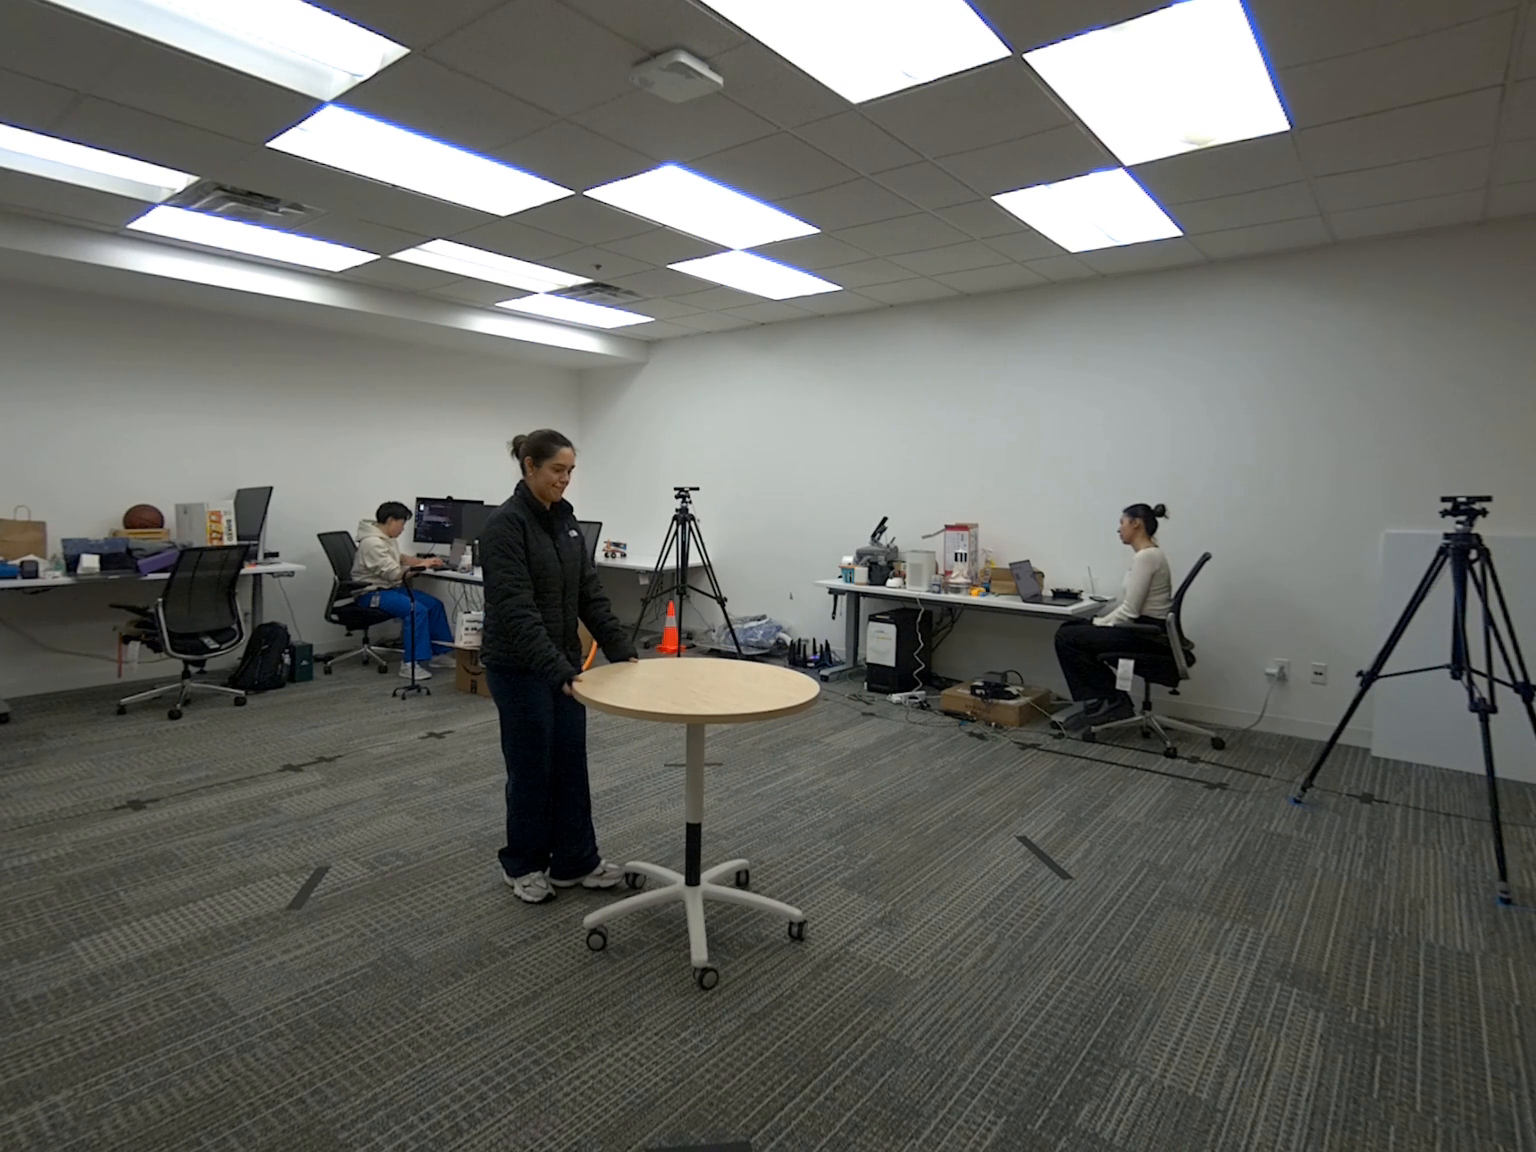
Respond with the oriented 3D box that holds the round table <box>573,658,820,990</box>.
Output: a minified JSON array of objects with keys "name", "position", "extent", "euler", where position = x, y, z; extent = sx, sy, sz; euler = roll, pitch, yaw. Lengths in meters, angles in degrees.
[{"name":"round table","position":[-0.225,0.712,2.699],"extent":[0.784,0.783,0.789],"euler":[1,5,-2]}]
